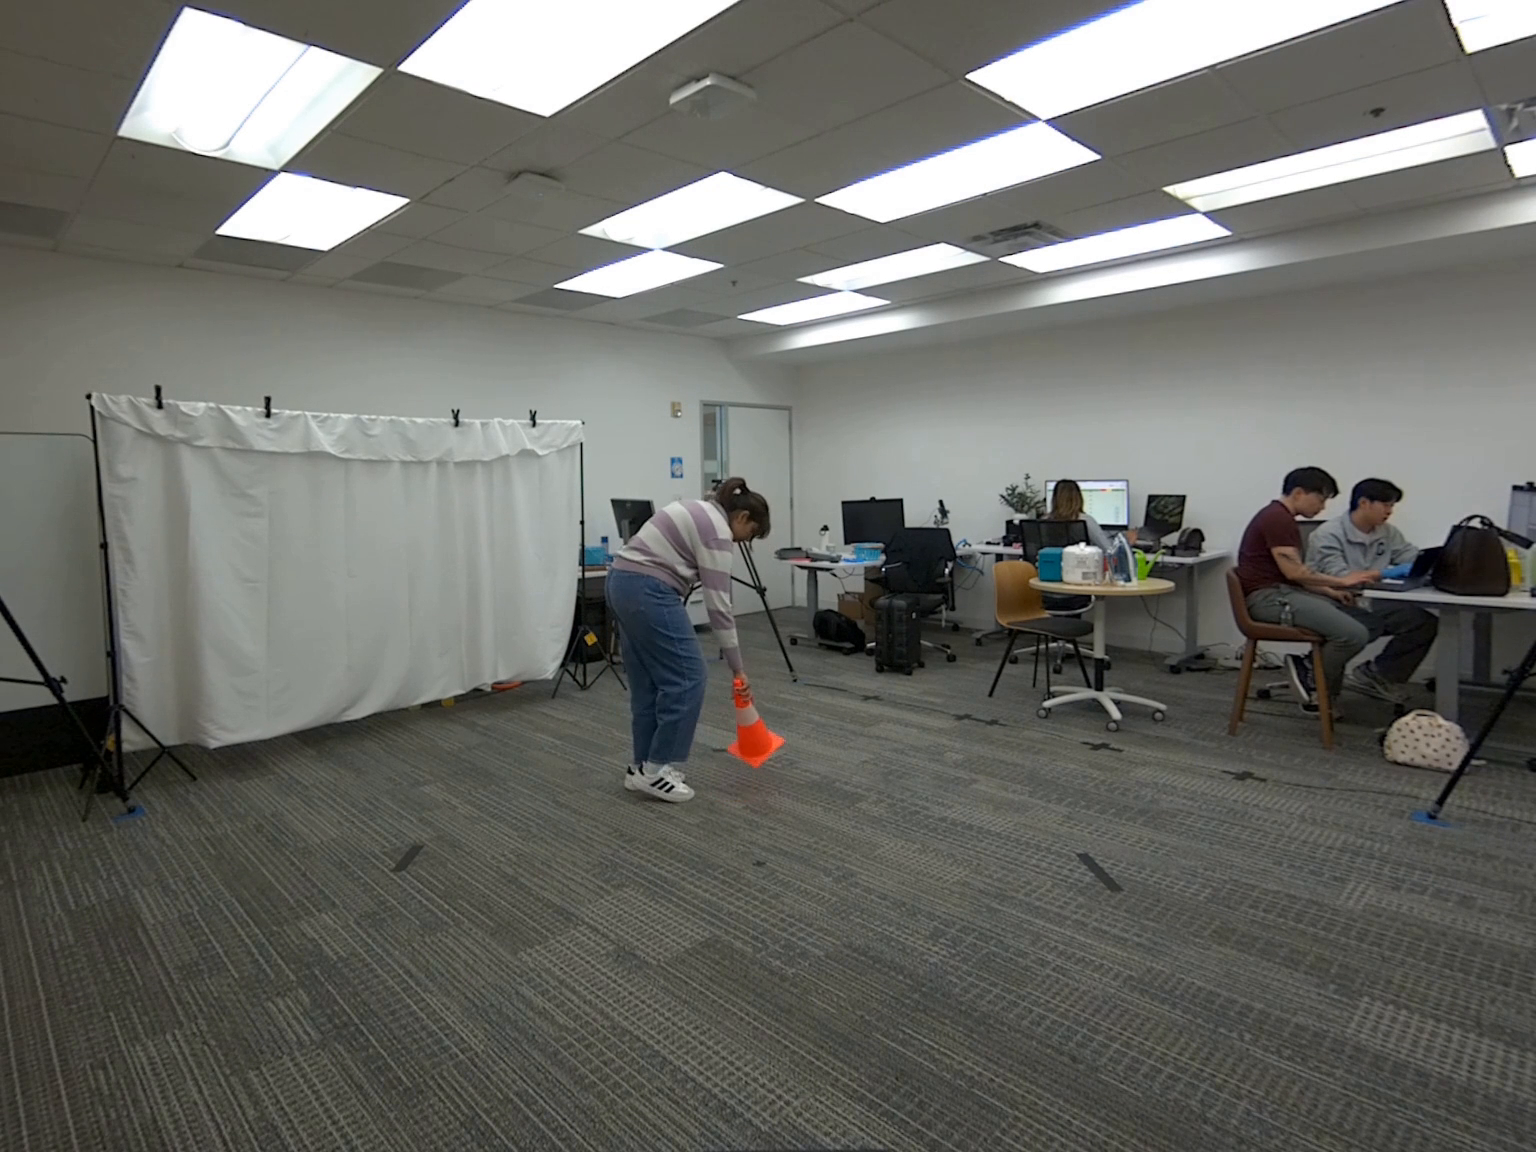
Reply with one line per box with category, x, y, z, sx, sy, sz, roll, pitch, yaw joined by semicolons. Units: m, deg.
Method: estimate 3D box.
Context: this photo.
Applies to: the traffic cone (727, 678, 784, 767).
traffic cone;-0.106;0.618;3.783;0.203;0.373;0.211;-34;33;-32
